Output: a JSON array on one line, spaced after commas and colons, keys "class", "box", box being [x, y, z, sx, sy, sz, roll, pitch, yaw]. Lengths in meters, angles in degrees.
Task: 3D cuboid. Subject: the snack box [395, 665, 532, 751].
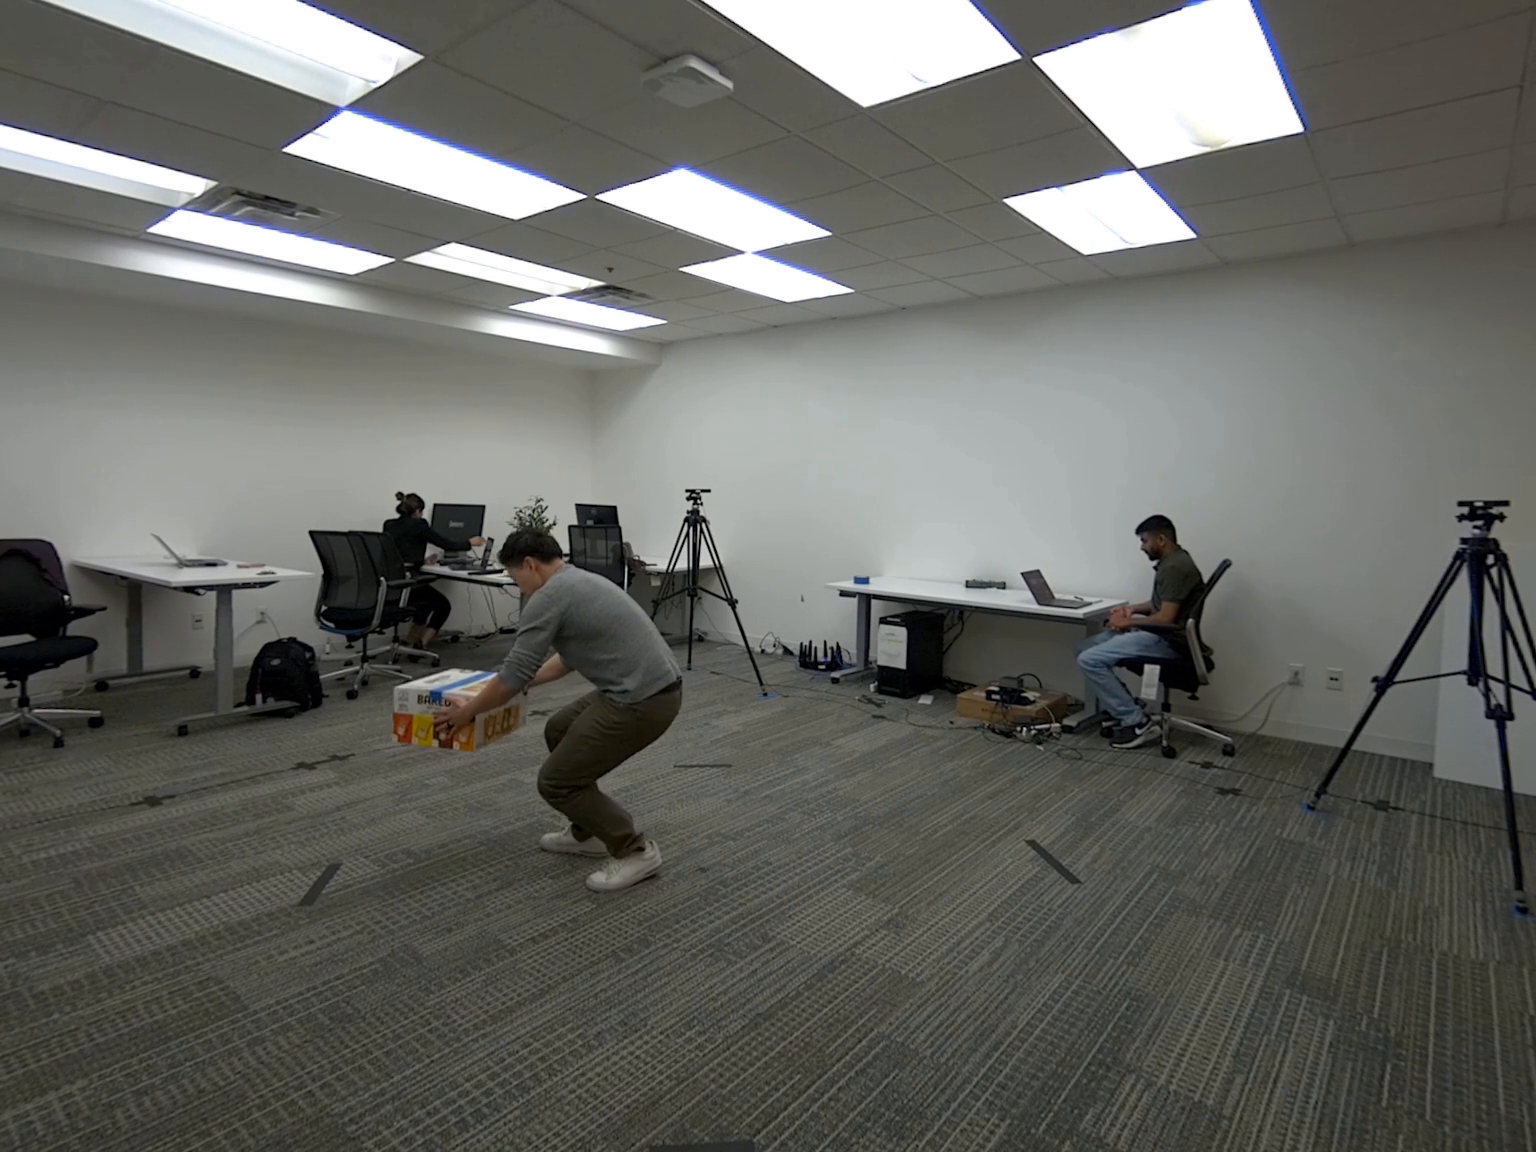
[{"class": "snack box", "box": [-1.165, 0.496, 3.247, 0.345, 0.205, 0.400, 4, 3, 12]}]
